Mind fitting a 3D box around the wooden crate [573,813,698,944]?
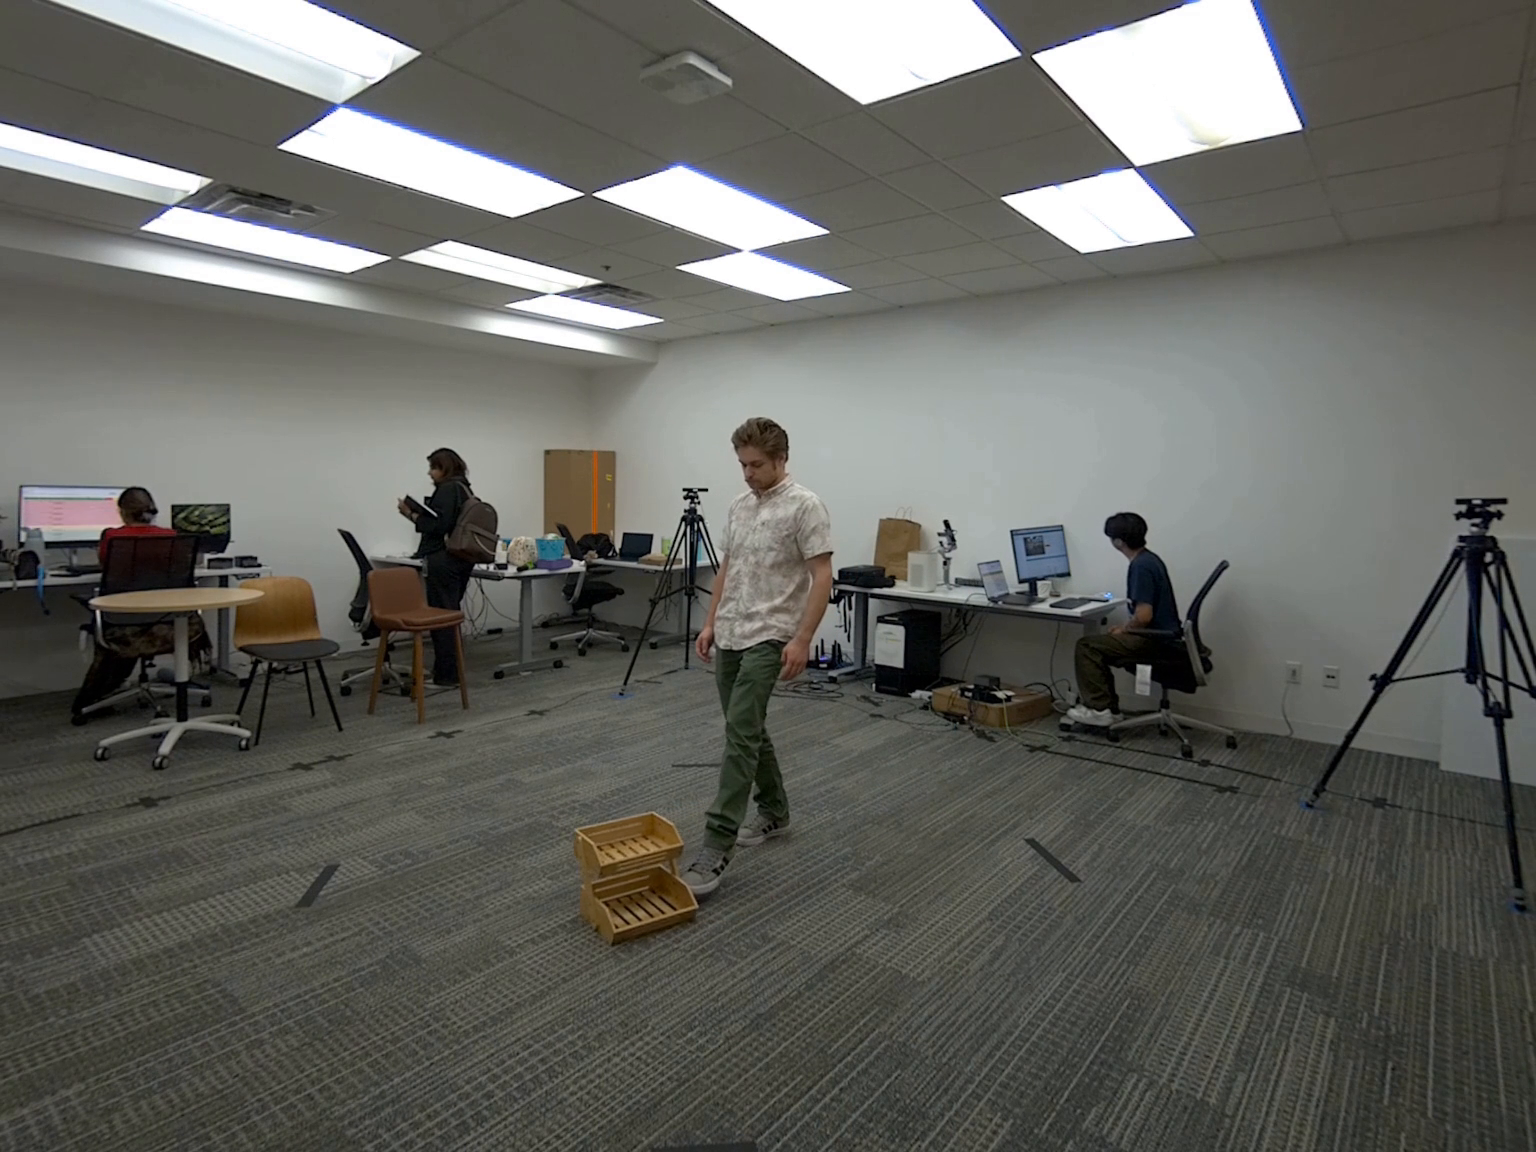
[{"bbox_3d":[-0.442,0.964,2.764,0.315,0.272,0.312,-2,5,-36],"label":"wooden crate"}]
